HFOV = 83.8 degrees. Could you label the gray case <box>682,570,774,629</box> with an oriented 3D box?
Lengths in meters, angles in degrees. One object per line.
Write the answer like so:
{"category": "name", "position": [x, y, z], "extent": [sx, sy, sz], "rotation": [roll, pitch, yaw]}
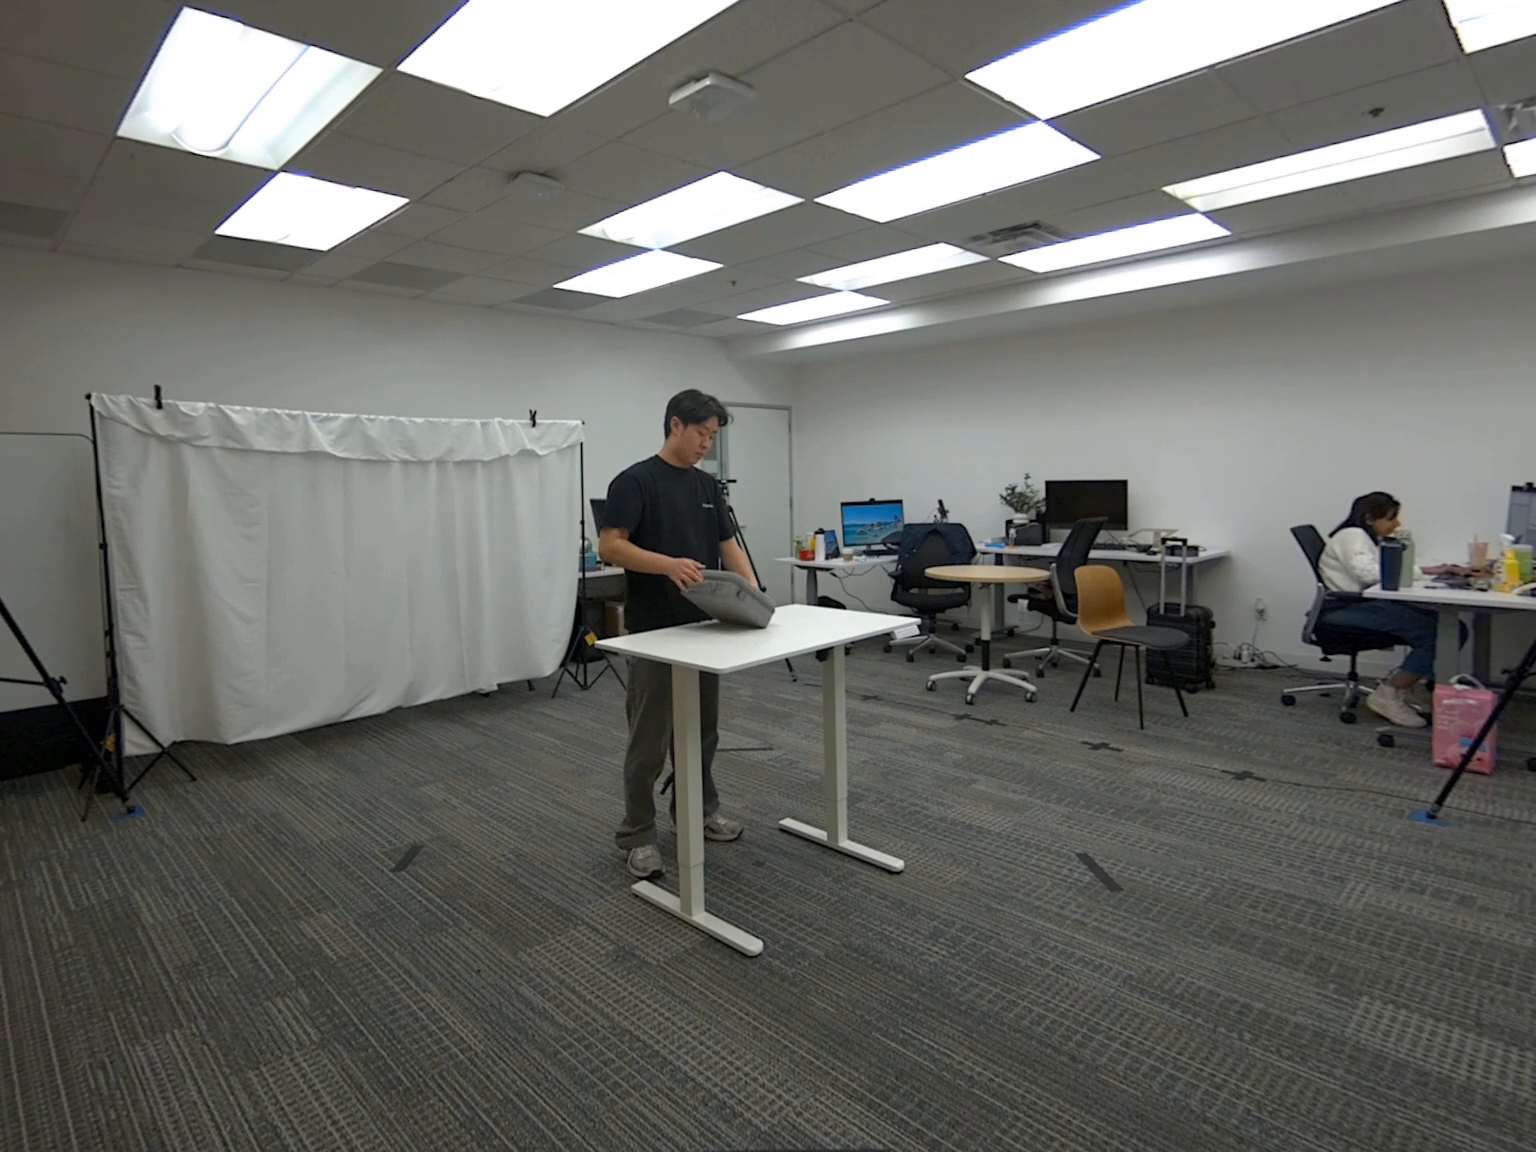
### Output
{"category": "gray case", "position": [-0.138, 0.080, 2.967], "extent": [0.265, 0.105, 0.251], "rotation": [5, -26, 45]}
